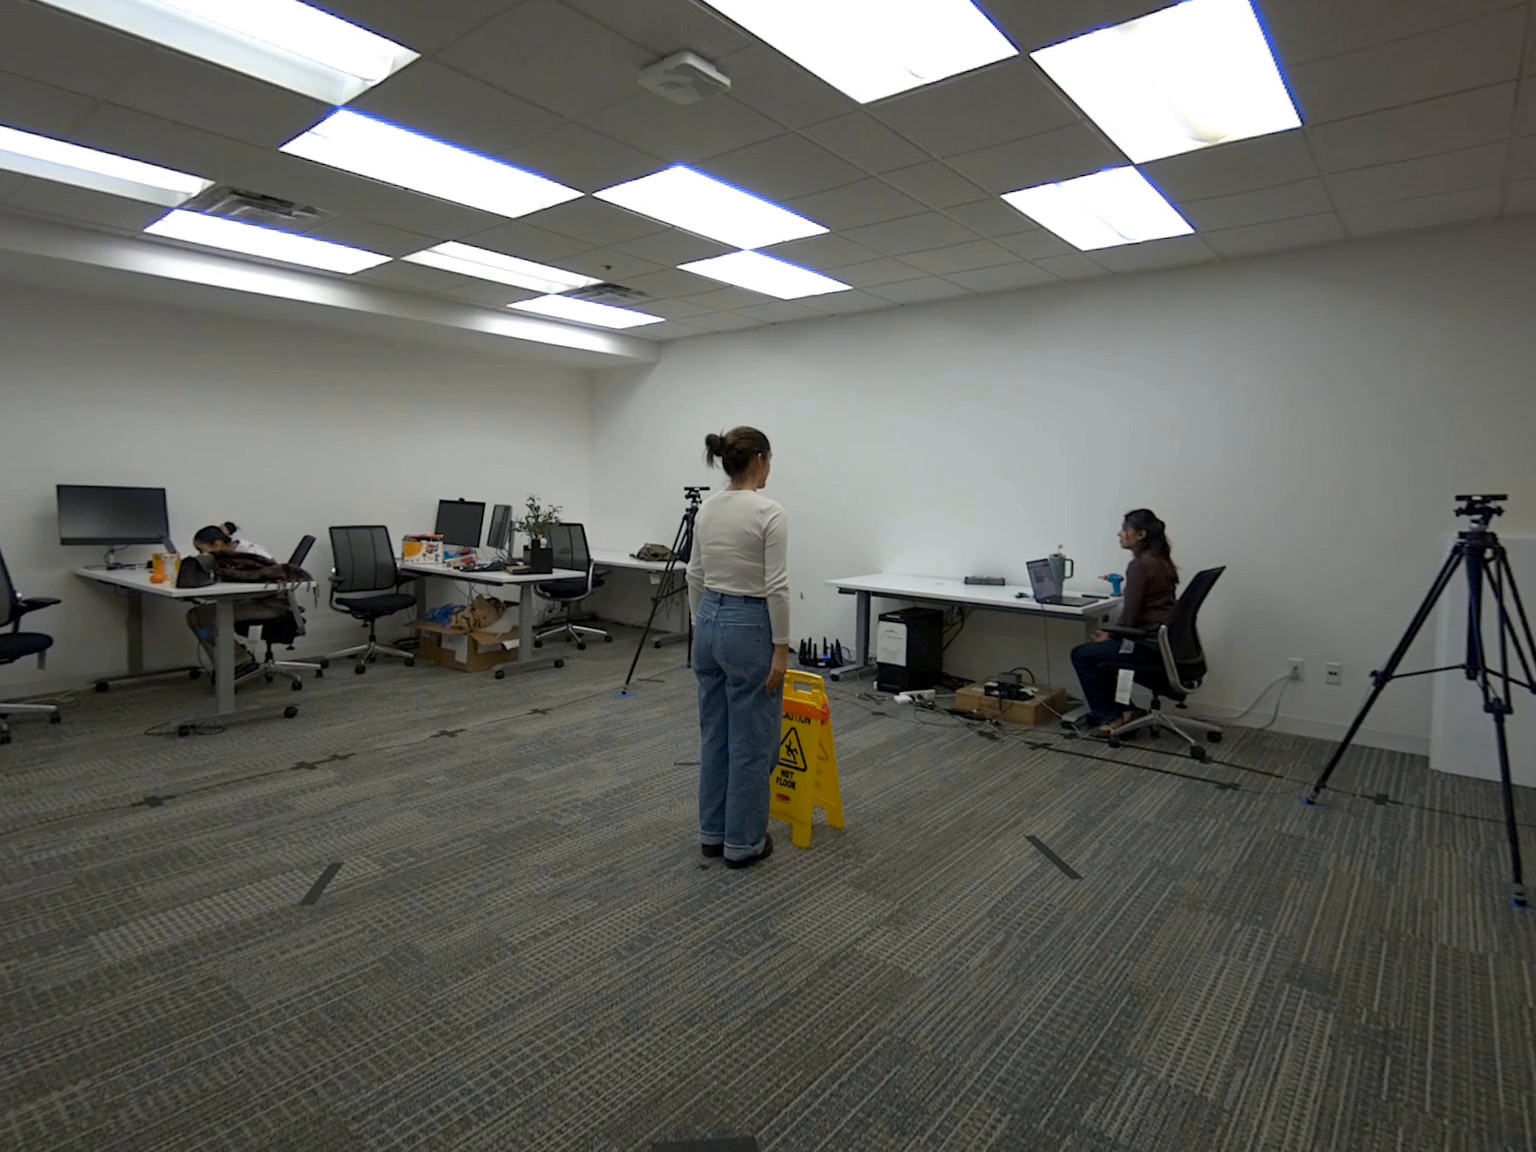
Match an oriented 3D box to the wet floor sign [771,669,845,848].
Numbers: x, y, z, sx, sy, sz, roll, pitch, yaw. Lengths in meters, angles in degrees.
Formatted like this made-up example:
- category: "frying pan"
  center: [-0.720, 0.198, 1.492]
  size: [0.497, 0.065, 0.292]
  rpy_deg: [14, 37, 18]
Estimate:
- category: "wet floor sign"
  center: [0.124, 0.710, 3.471]
  size: [0.292, 0.644, 0.281]
  rpy_deg: [5, 4, 39]
